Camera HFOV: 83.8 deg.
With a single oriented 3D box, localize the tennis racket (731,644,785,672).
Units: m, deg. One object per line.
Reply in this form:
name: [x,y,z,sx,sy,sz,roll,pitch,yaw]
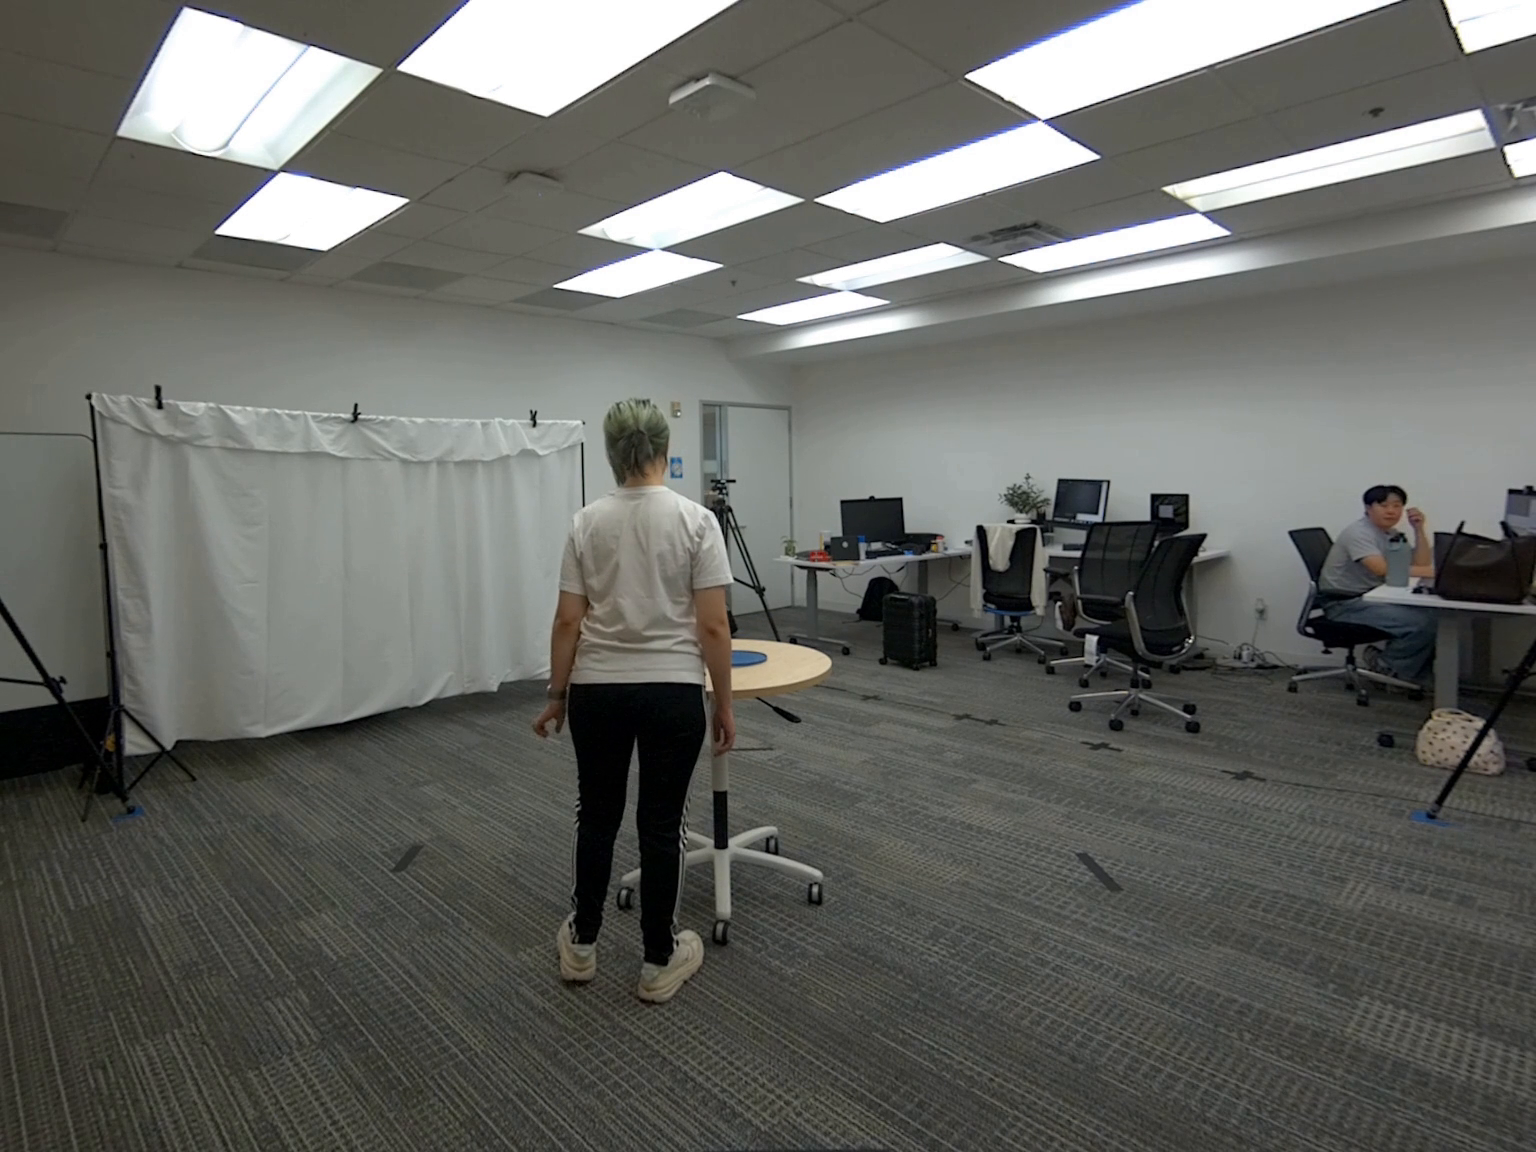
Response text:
tennis racket: [-0.186,0.283,2.858,0.422,0.031,0.220,-4,7,-34]
